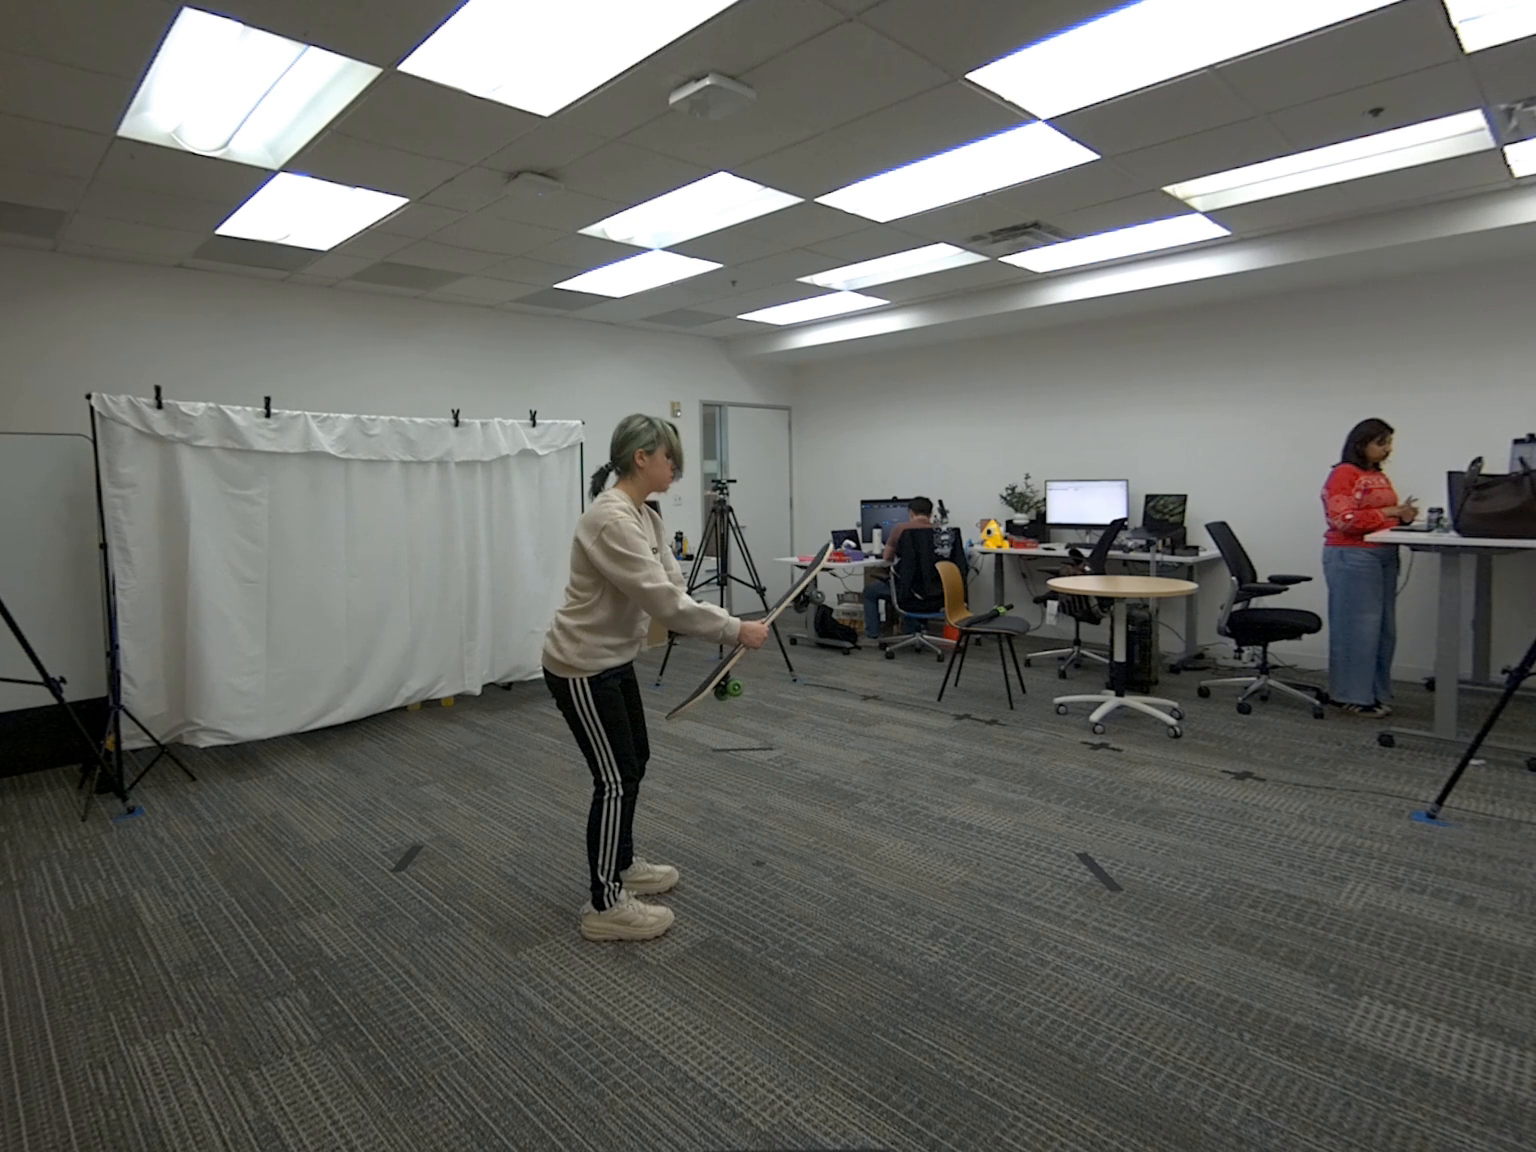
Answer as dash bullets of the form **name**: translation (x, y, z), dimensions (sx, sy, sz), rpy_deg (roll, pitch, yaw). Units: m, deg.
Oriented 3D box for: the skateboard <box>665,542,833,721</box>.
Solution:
- **skateboard**: translation (-0.012, 0.199, 2.699), dimensions (0.785, 0.110, 0.194), rpy_deg (-46, 4, -20)
